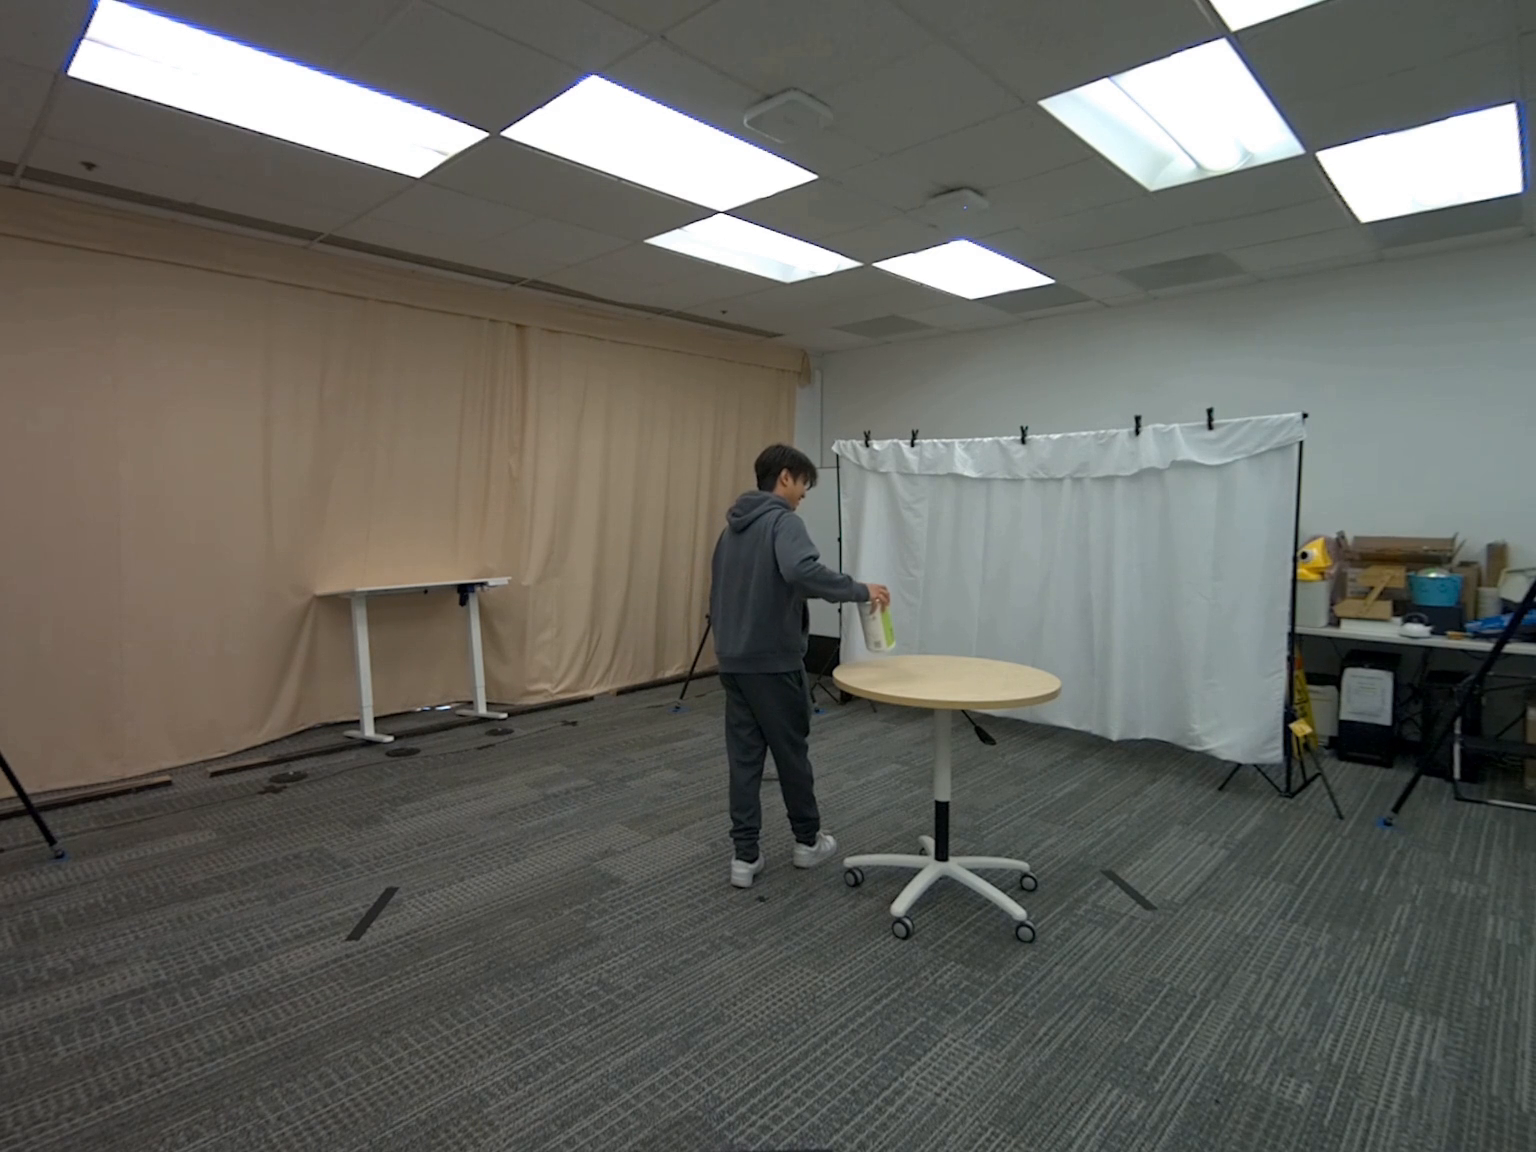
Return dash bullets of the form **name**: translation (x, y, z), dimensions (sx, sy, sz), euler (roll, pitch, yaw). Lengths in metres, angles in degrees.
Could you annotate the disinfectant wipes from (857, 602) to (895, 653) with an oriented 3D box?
- **disinfectant wipes**: translation (0.395, 0.166, 3.034), dimensions (0.118, 0.213, 0.119), euler (-13, 23, 4)
